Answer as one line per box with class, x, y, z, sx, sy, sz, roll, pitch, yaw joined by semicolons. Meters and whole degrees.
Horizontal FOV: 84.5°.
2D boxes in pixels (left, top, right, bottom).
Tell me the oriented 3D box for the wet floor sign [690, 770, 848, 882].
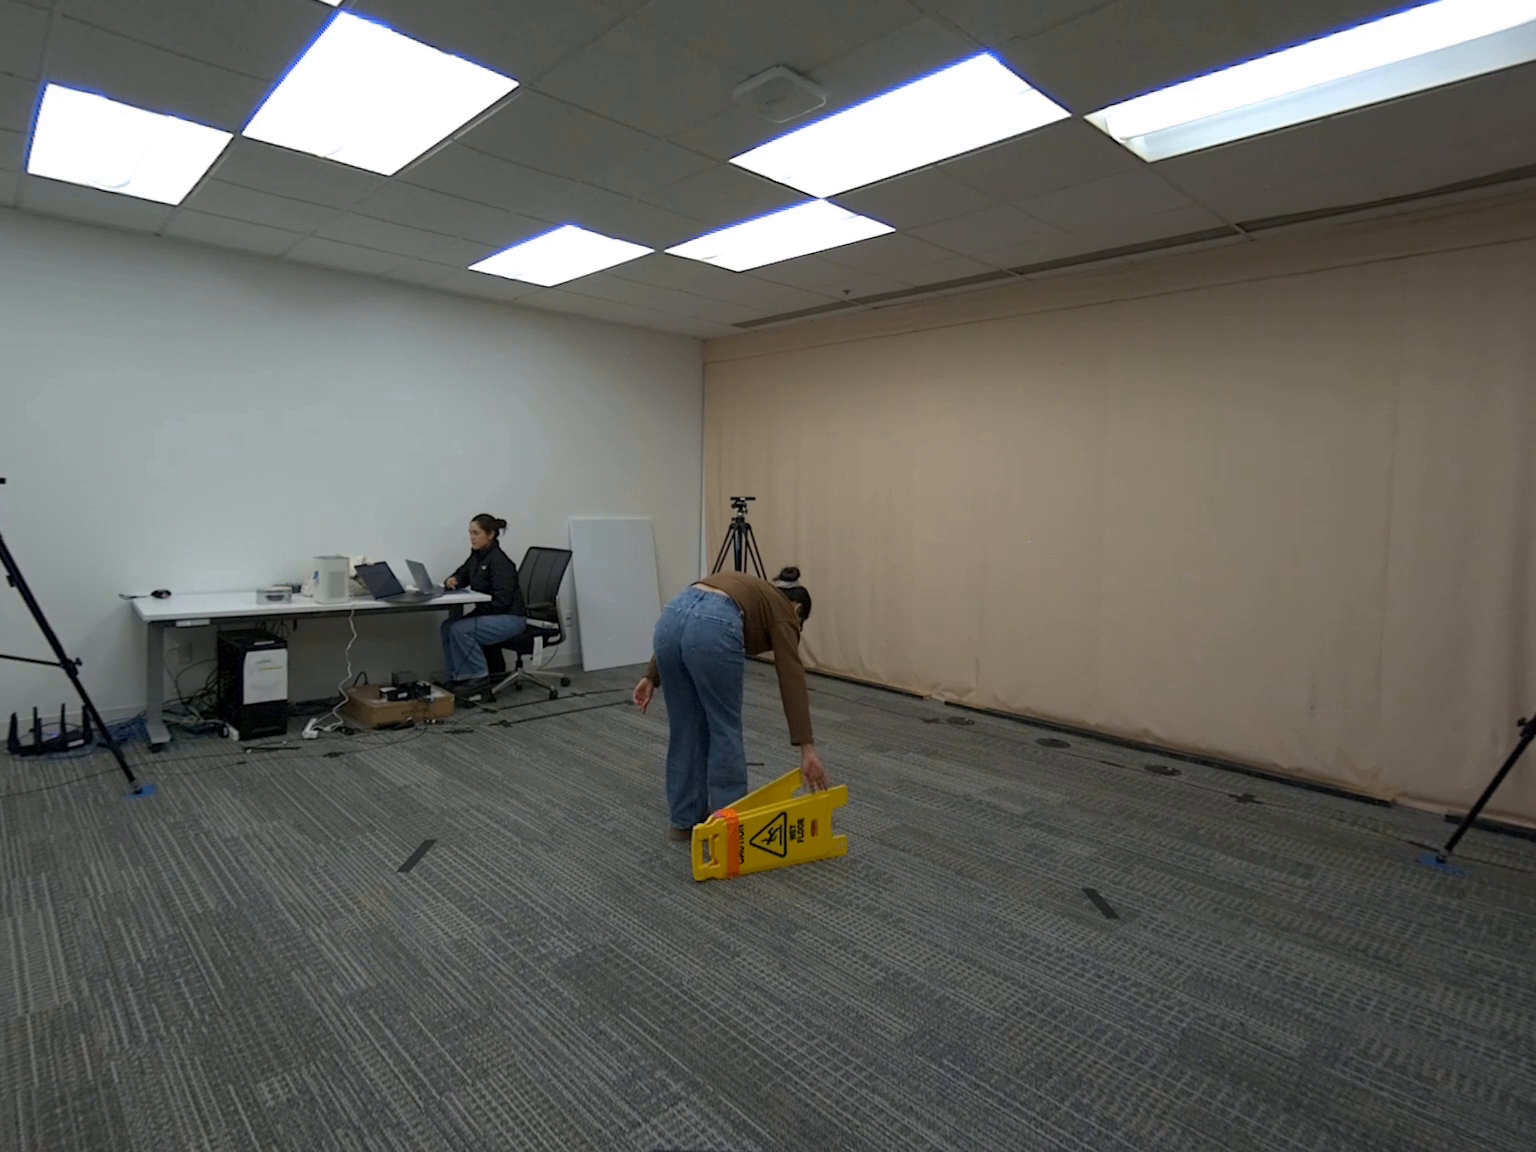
wet floor sign;-0.020;0.973;3.220;0.632;0.281;0.297;-6;8;-39
